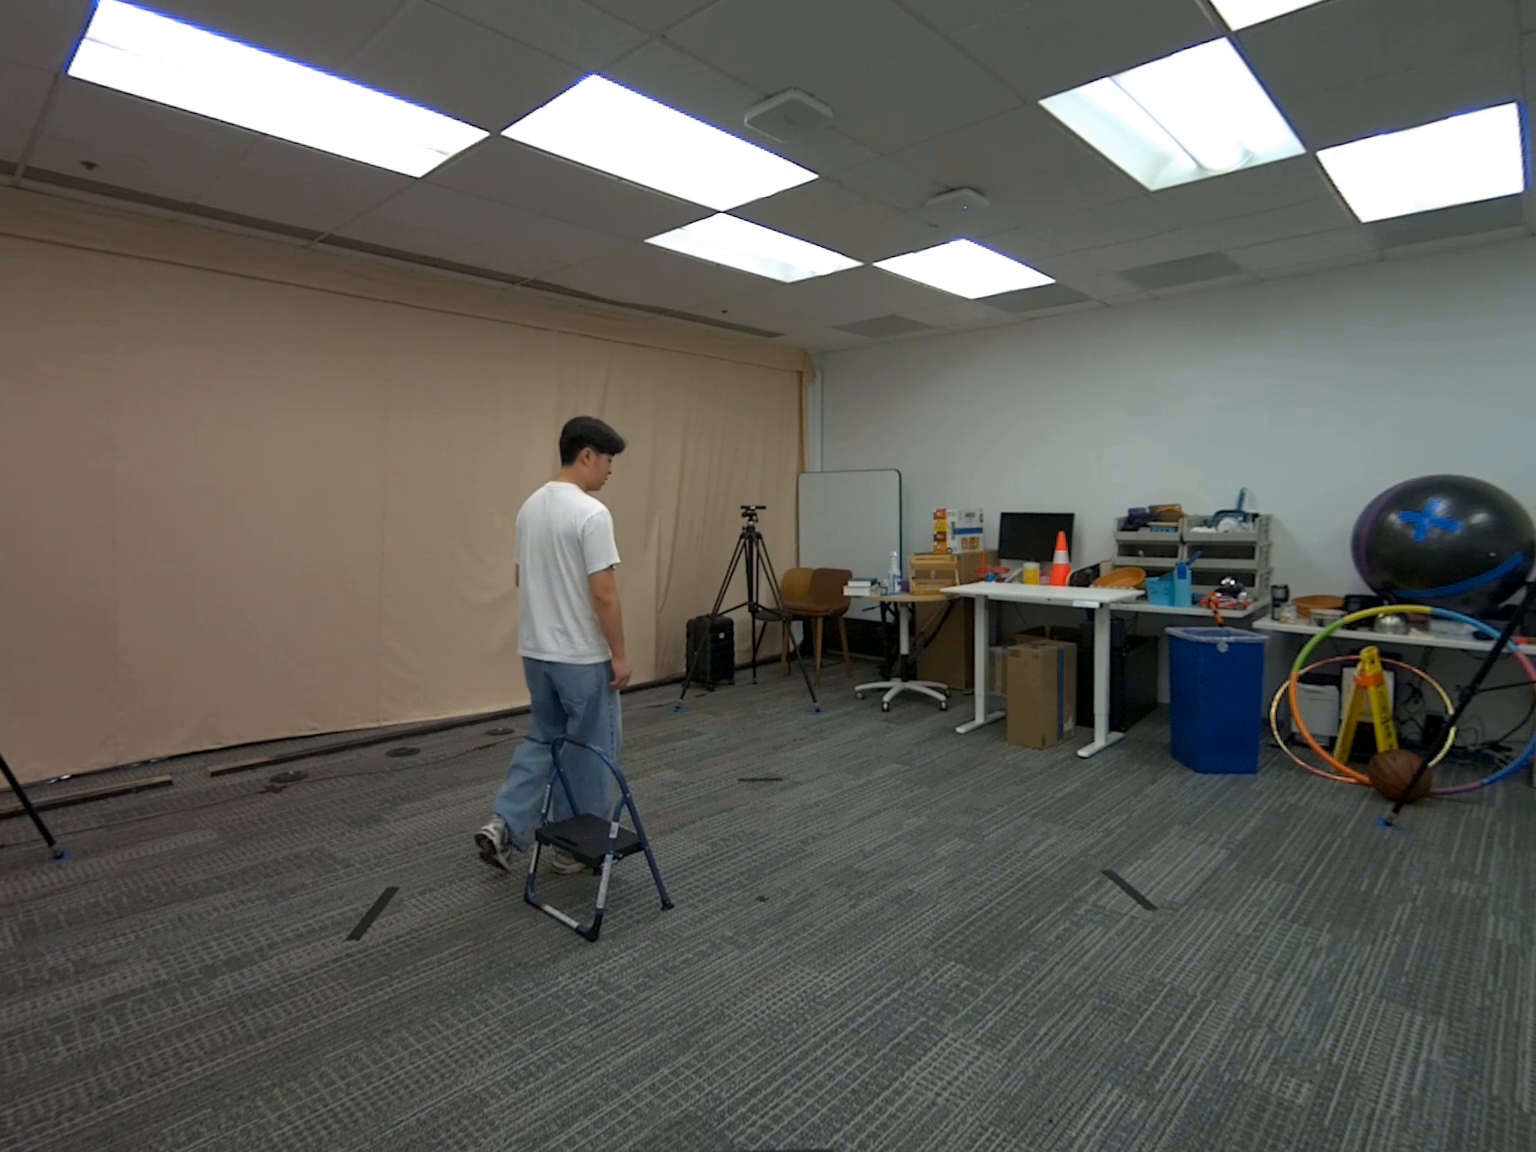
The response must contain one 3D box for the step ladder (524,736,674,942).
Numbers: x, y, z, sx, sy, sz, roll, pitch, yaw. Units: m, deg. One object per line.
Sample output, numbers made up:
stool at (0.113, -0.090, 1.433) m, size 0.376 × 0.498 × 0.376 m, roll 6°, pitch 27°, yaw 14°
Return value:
step ladder at (-0.598, 0.849, 2.931) m, size 0.445 × 0.605 × 0.338 m, roll 2°, pitch 4°, yaw 43°
